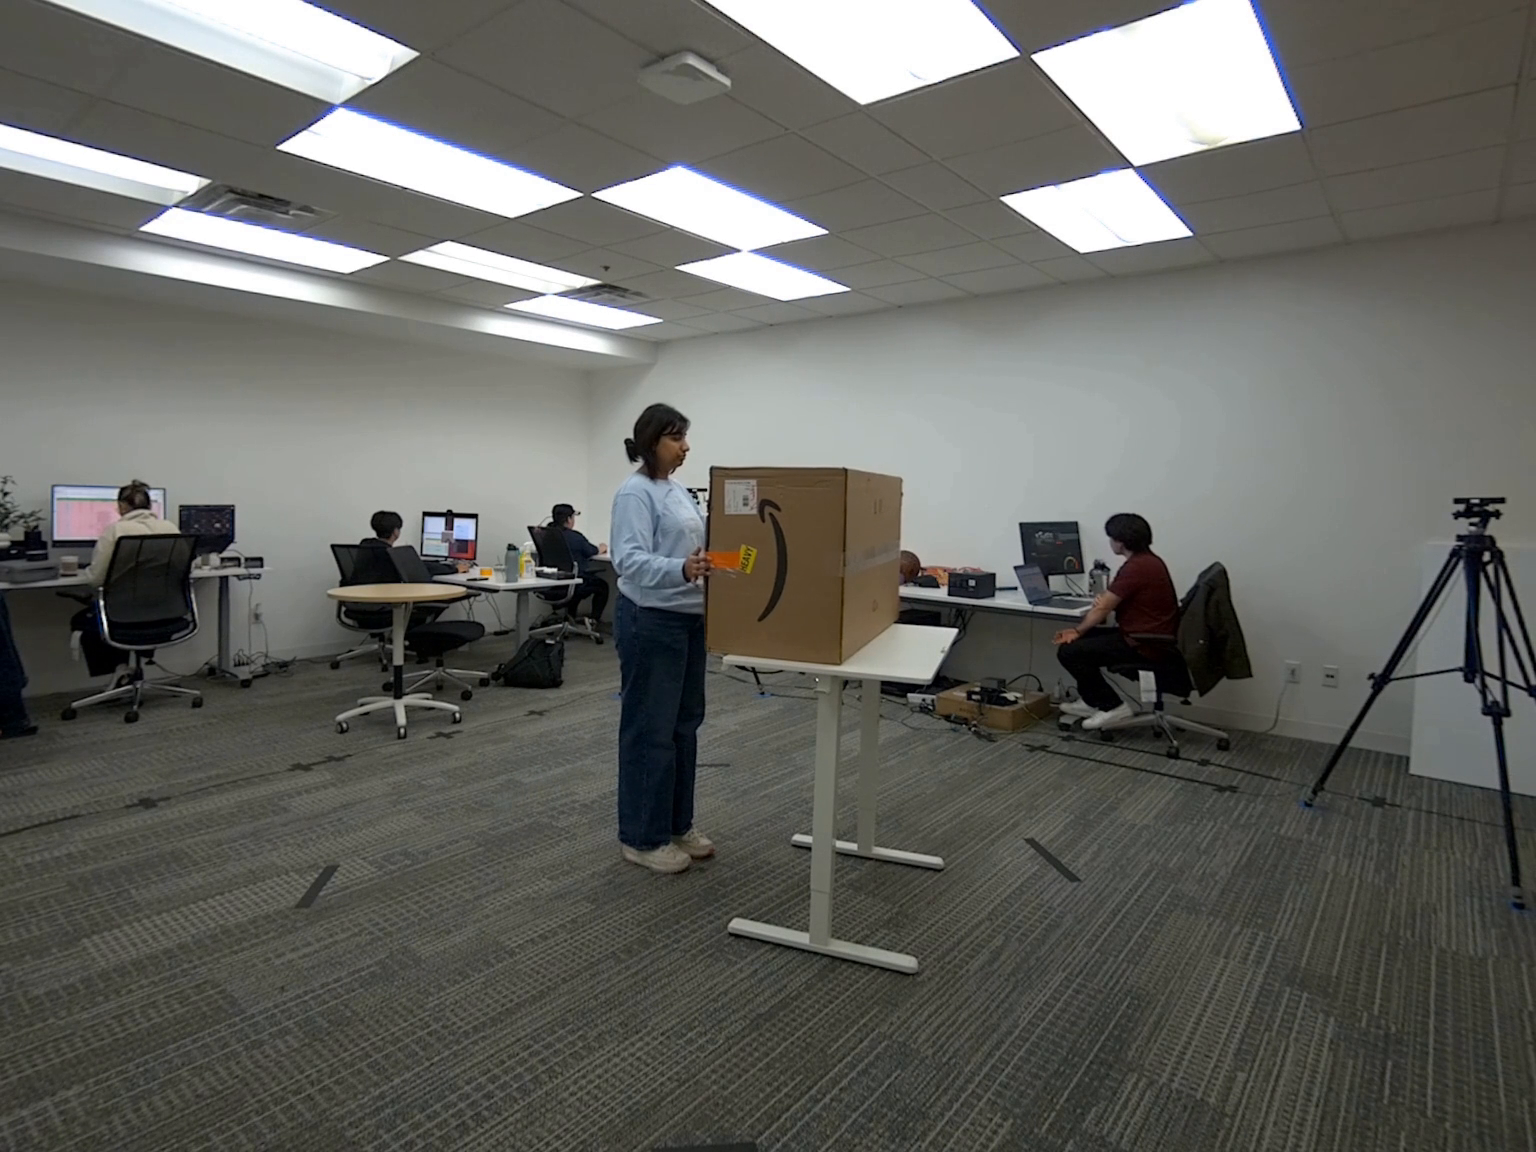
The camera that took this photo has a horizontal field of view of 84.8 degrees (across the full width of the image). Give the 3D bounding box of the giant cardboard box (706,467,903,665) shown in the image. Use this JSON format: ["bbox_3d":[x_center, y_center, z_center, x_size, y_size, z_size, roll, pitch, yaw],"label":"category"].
[{"bbox_3d":[0.172,-0.077,2.977,0.435,0.576,1.007,2,5,19],"label":"giant cardboard box"}]
